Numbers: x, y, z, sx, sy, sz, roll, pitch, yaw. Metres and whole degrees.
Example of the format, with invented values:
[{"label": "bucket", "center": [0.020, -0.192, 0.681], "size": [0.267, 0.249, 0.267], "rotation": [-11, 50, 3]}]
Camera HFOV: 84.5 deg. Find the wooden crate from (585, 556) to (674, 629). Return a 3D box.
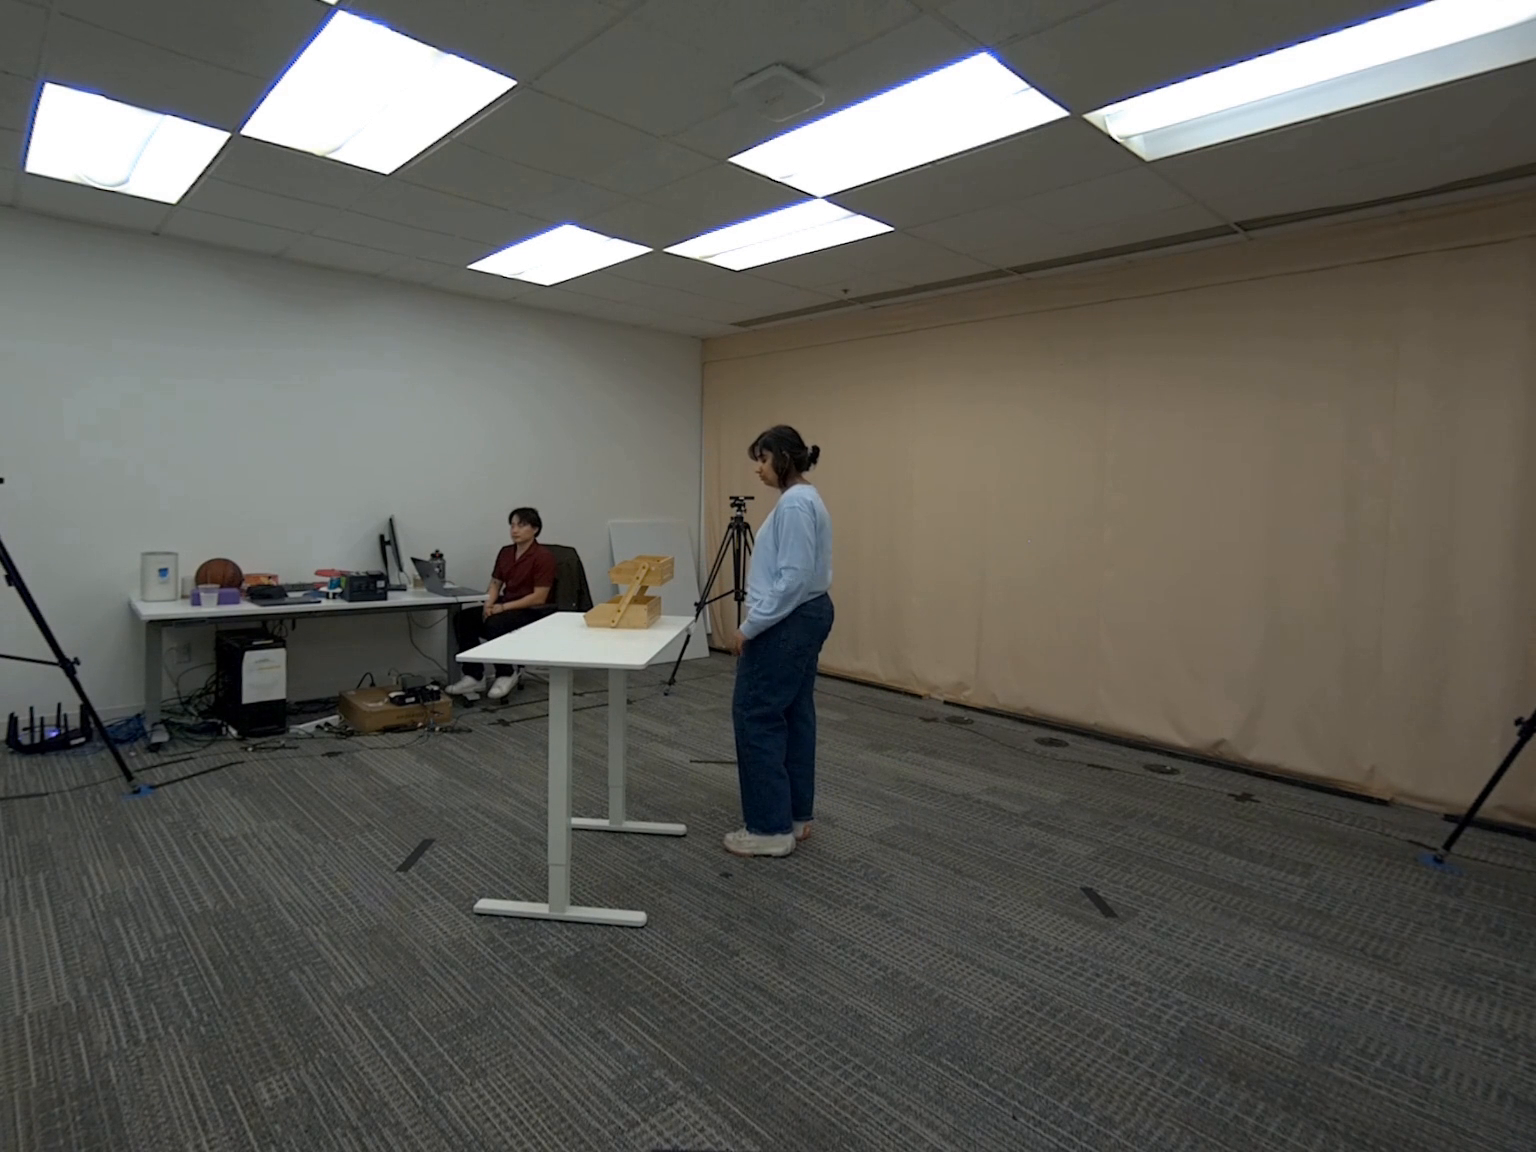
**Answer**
[{"label": "wooden crate", "center": [-0.555, 0.055, 3.355], "size": [0.303, 0.272, 0.324], "rotation": [2, 5, 4]}]
